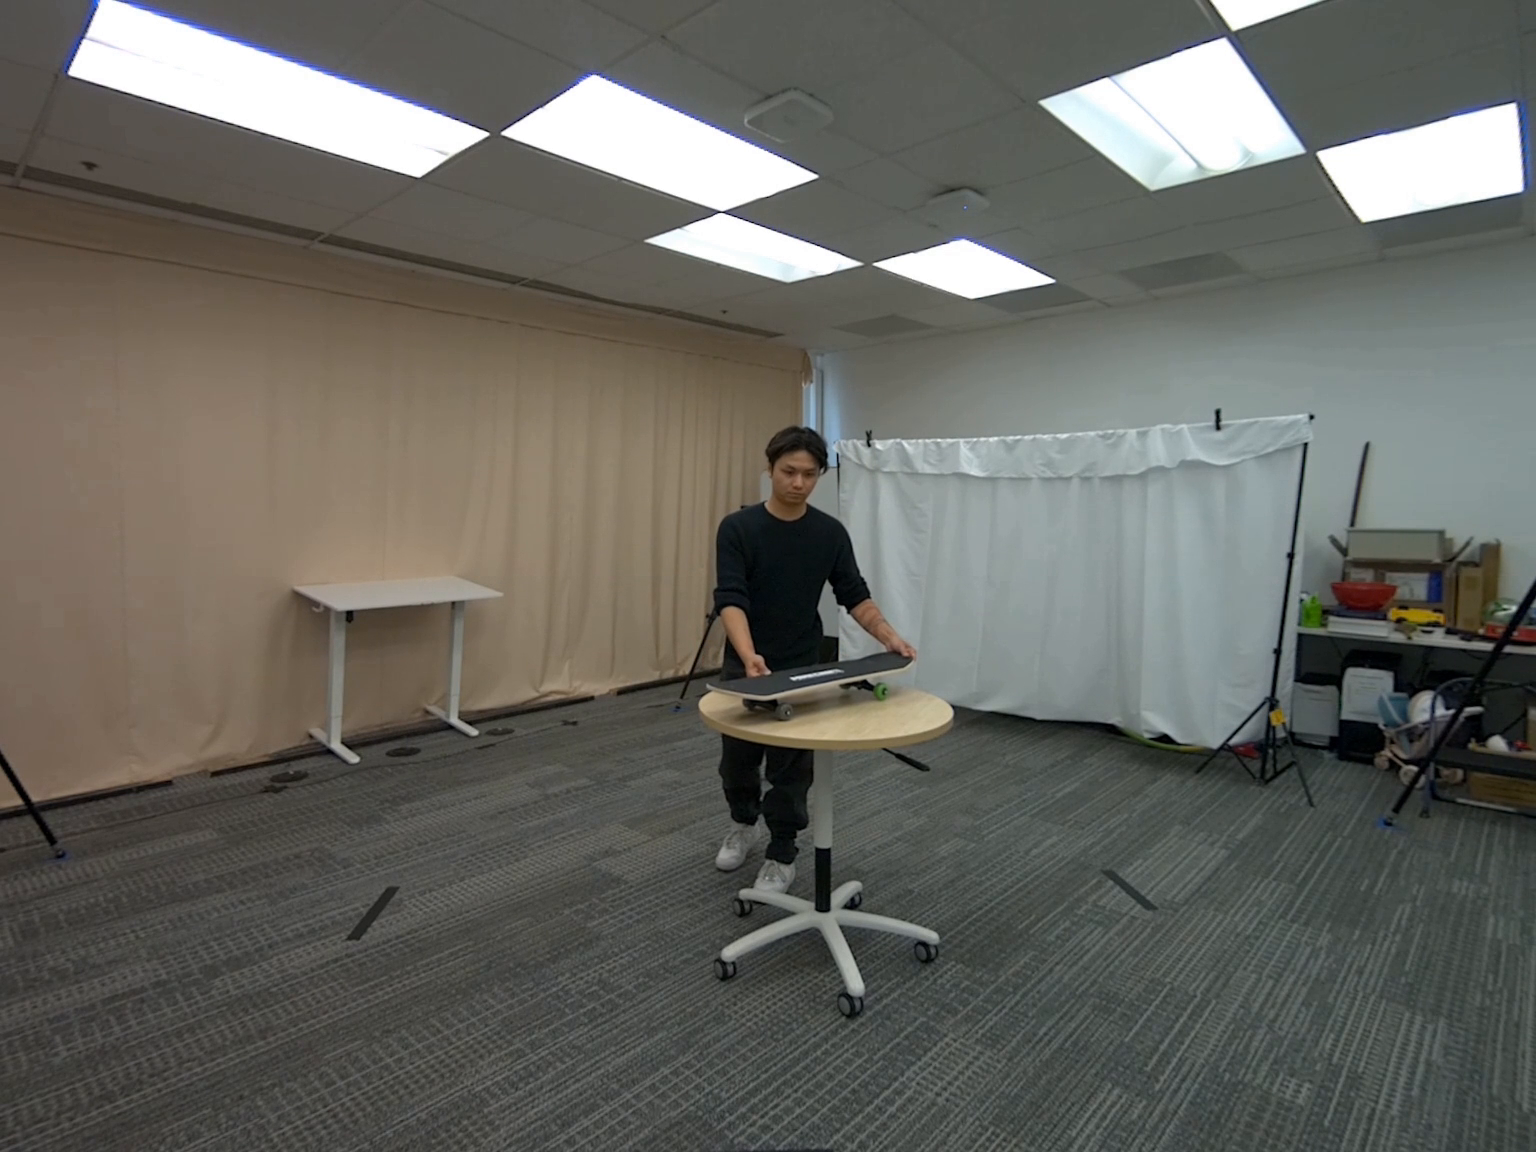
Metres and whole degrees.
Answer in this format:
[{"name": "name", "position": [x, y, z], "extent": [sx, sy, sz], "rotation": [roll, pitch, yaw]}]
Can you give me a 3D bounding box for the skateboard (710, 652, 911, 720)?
[{"name": "skateboard", "position": [0.155, 0.339, 2.564], "extent": [0.762, 0.110, 0.200], "rotation": [-5, 9, -38]}]
